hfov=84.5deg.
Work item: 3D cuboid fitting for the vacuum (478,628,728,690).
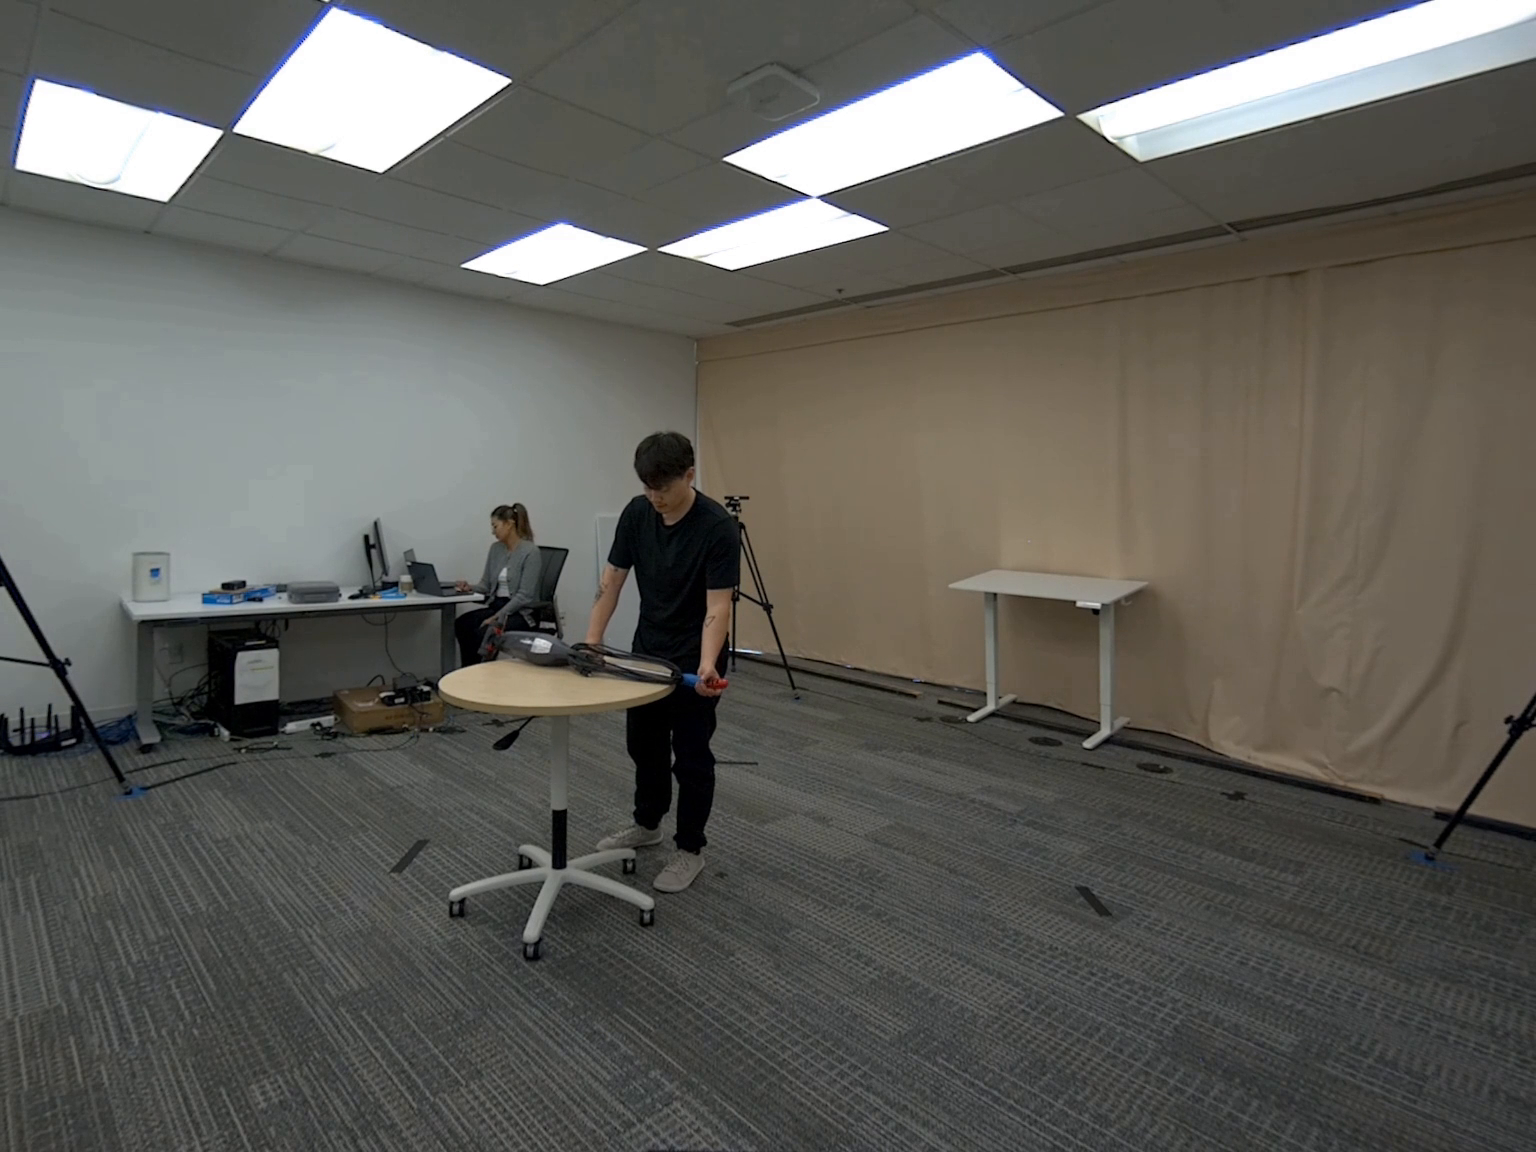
[{"bbox_3d":[-0.595,0.300,2.880,1.073,0.255,0.139,6,-22,30],"label":"vacuum"}]
